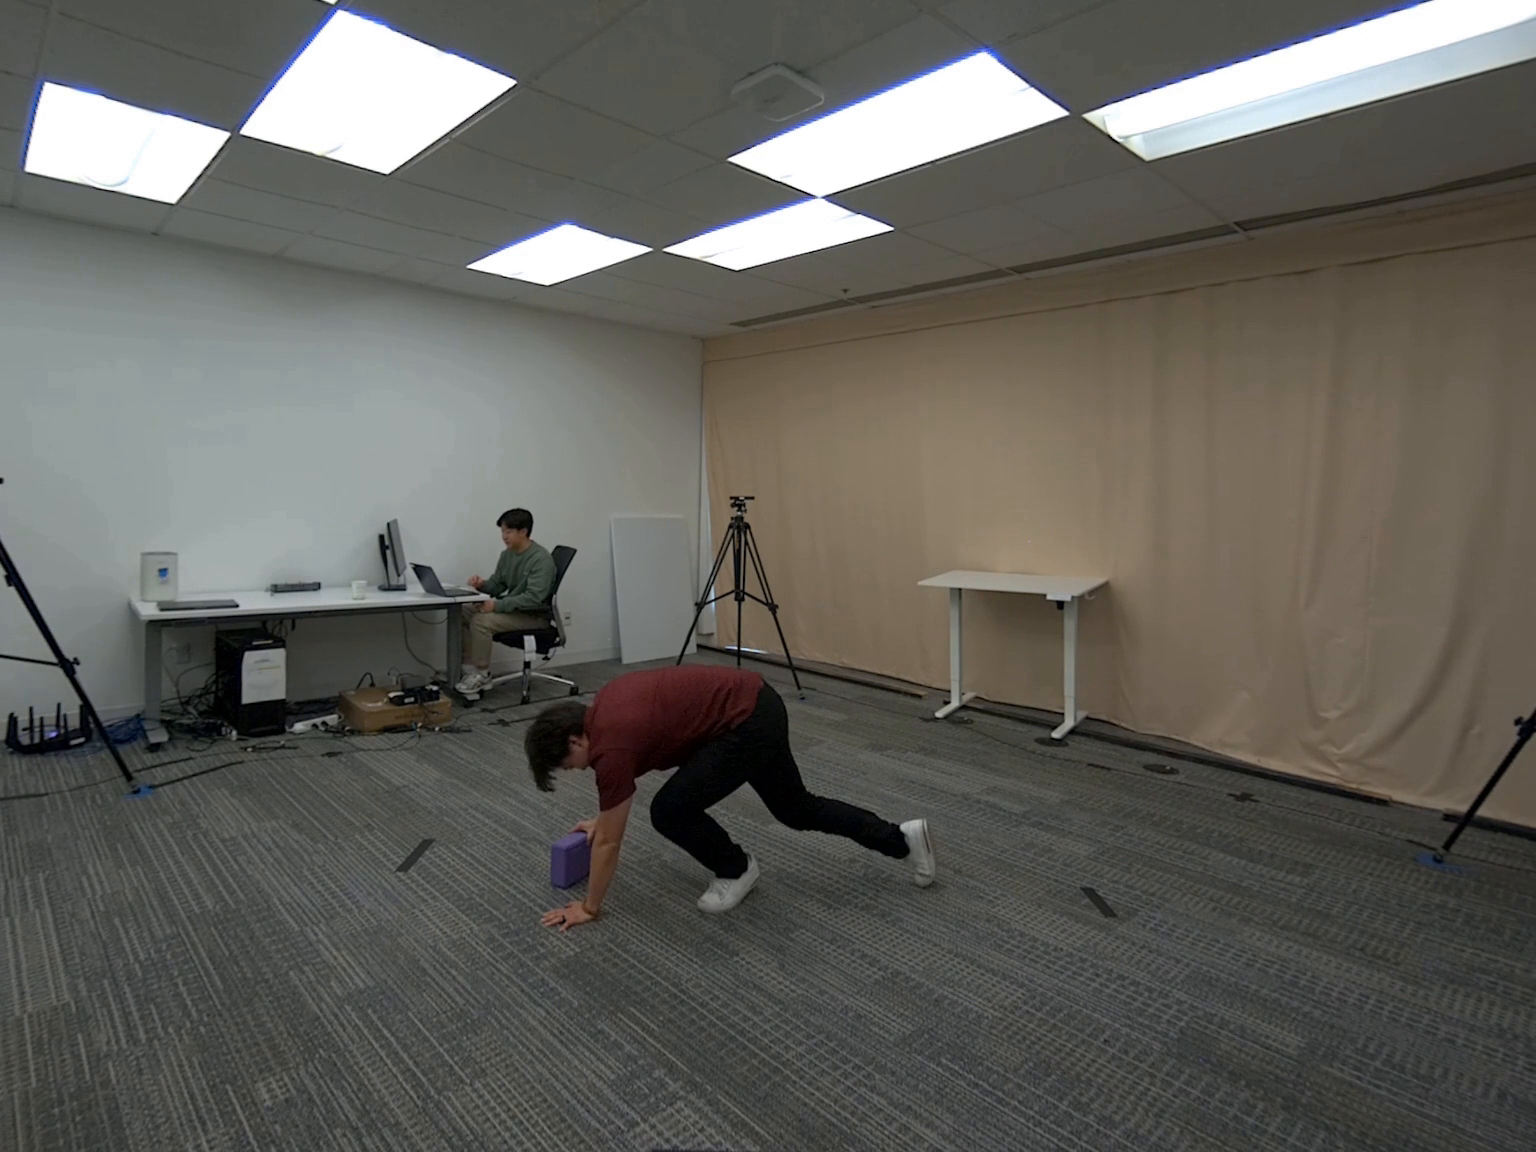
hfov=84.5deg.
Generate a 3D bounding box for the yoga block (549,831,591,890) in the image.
[{"bbox_3d":[-0.693,1.011,3.064,0.078,0.148,0.226,1,5,23],"label":"yoga block"}]
